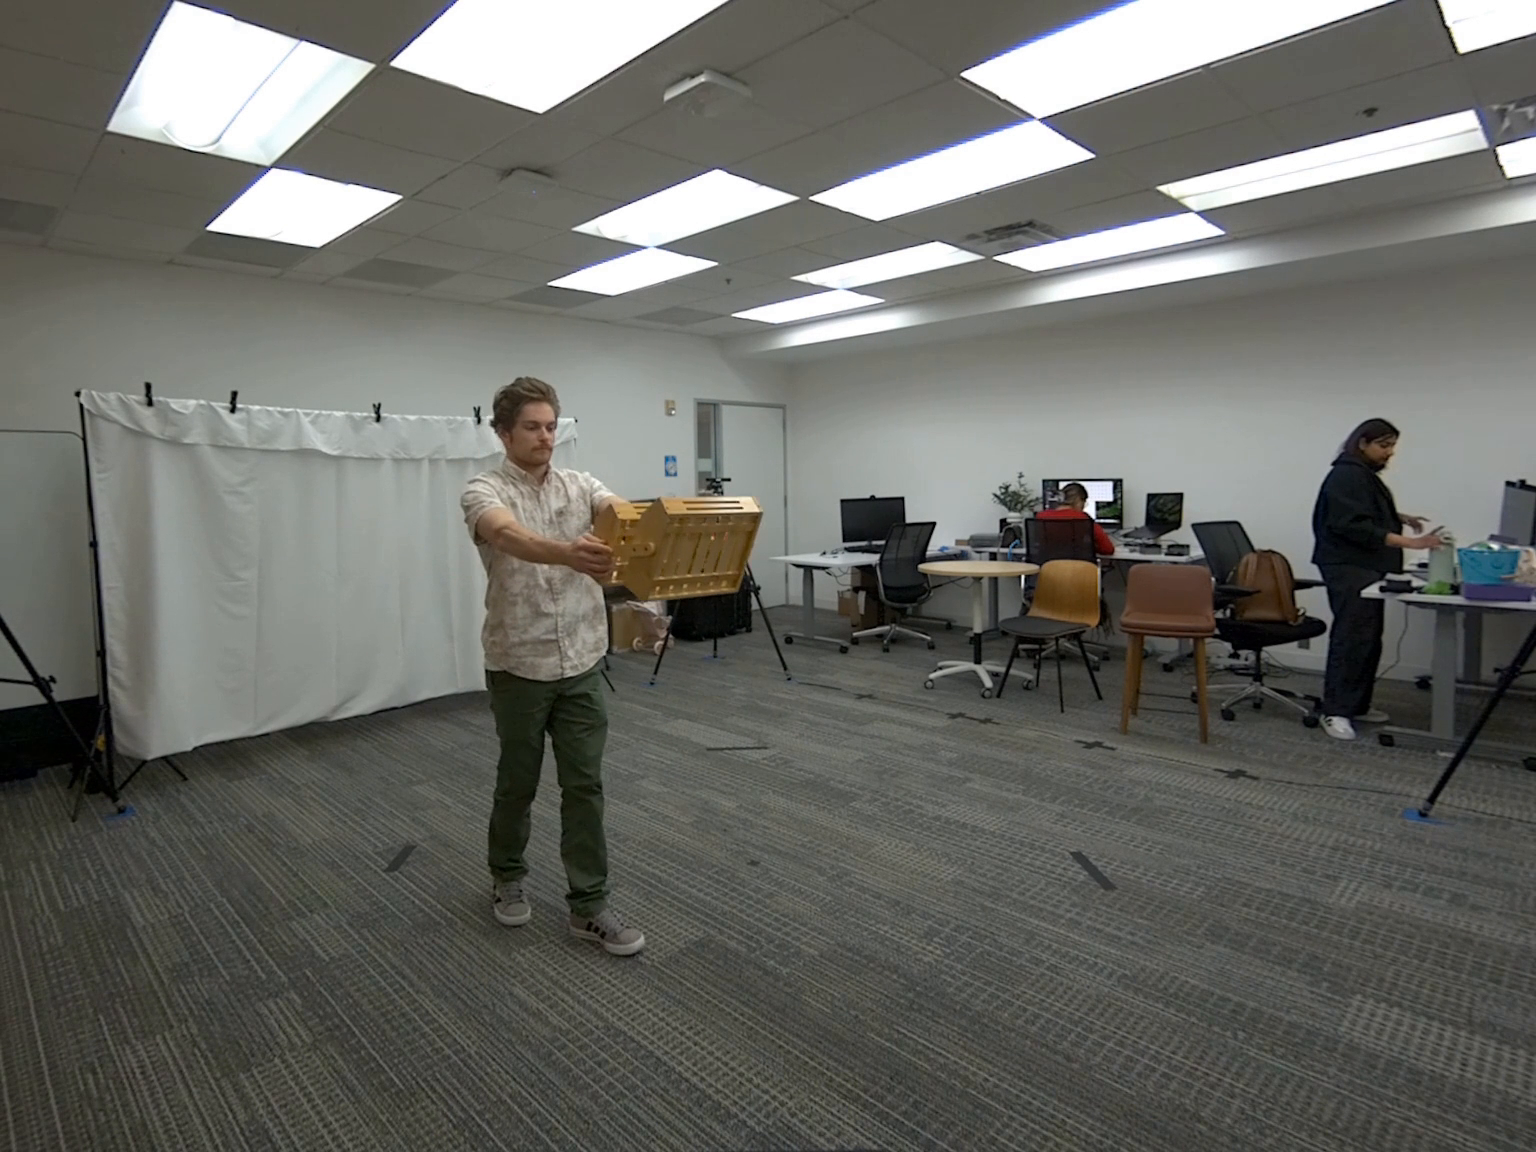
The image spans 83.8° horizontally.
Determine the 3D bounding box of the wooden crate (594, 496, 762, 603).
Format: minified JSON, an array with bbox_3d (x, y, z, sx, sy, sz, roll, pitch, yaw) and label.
[{"bbox_3d":[-0.235,-0.096,2.142,0.316,0.298,0.284,-4,30,-43],"label":"wooden crate"}]
